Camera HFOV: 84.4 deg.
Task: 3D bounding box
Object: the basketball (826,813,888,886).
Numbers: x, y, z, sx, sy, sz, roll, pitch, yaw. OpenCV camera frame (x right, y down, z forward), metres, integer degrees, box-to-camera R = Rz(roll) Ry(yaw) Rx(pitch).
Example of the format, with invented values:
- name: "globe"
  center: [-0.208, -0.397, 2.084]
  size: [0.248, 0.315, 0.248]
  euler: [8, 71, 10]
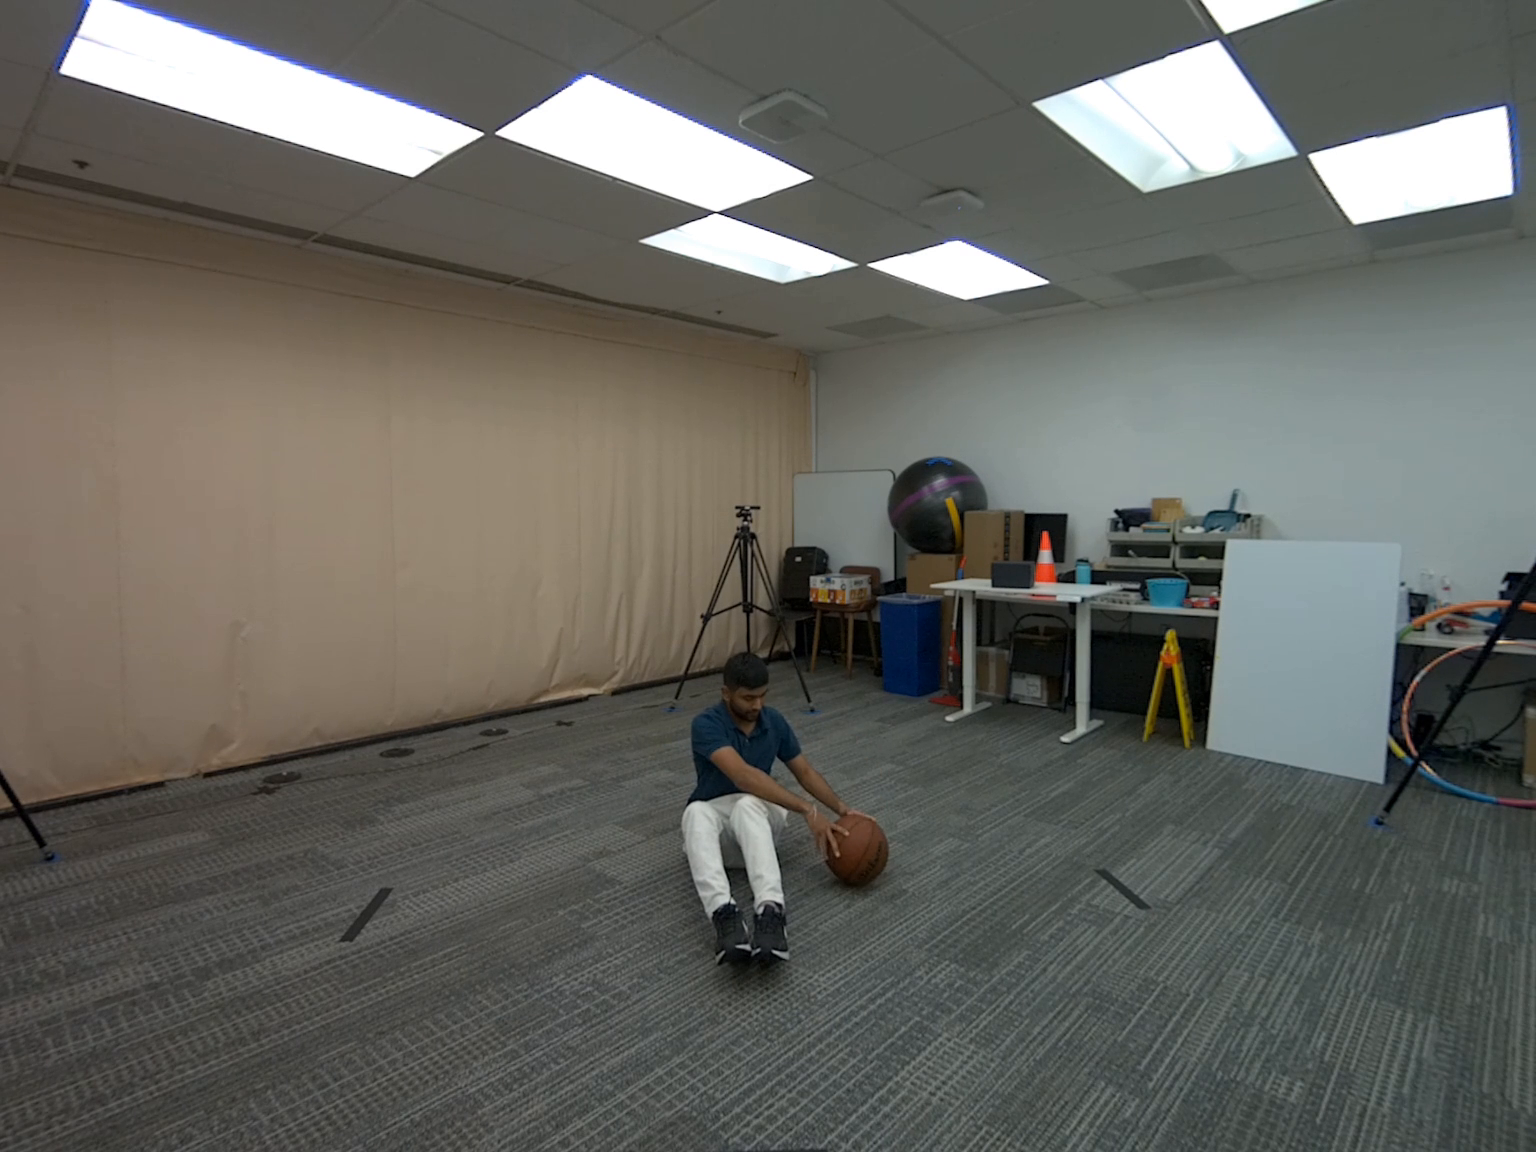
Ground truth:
- name: "basketball"
  center: [0.333, 0.983, 3.071]
  size: [0.236, 0.235, 0.237]
  euler: [0, 4, -2]
